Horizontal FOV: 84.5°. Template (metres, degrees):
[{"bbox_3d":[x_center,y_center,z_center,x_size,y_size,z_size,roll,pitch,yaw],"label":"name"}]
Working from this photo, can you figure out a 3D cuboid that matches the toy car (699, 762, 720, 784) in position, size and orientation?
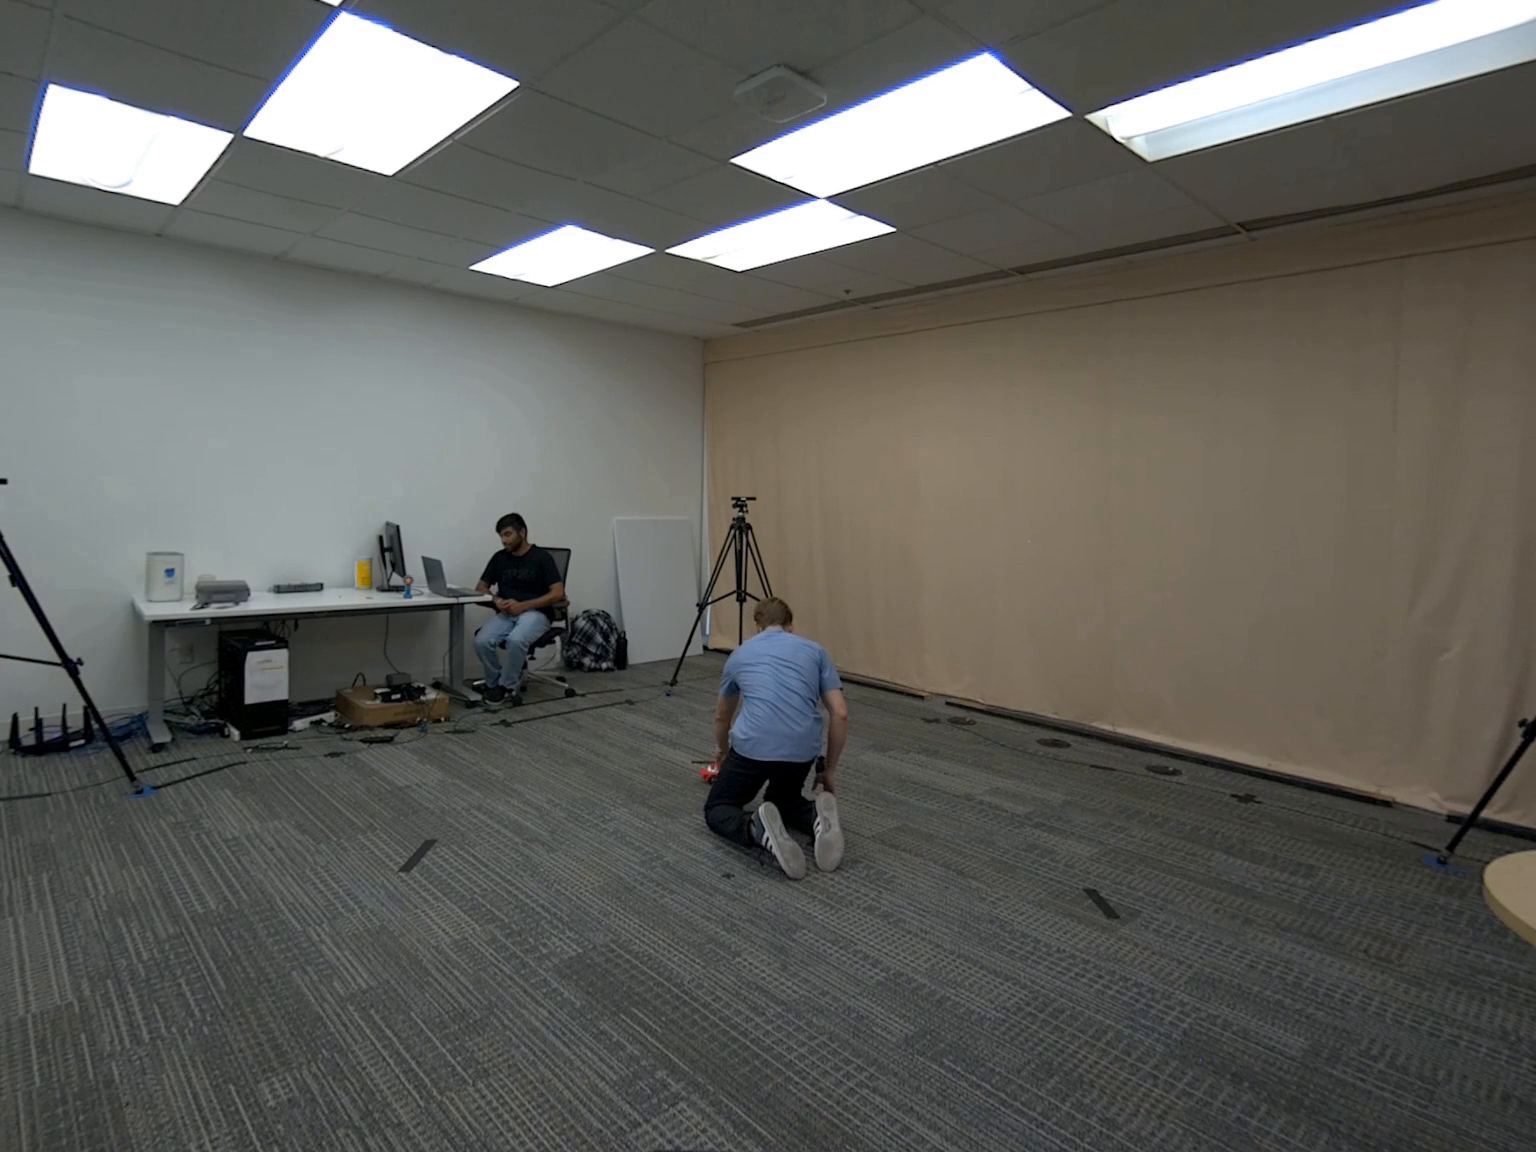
[{"bbox_3d":[-0.227,0.988,4.146,0.255,0.083,0.130,13,5,1],"label":"toy car"}]
